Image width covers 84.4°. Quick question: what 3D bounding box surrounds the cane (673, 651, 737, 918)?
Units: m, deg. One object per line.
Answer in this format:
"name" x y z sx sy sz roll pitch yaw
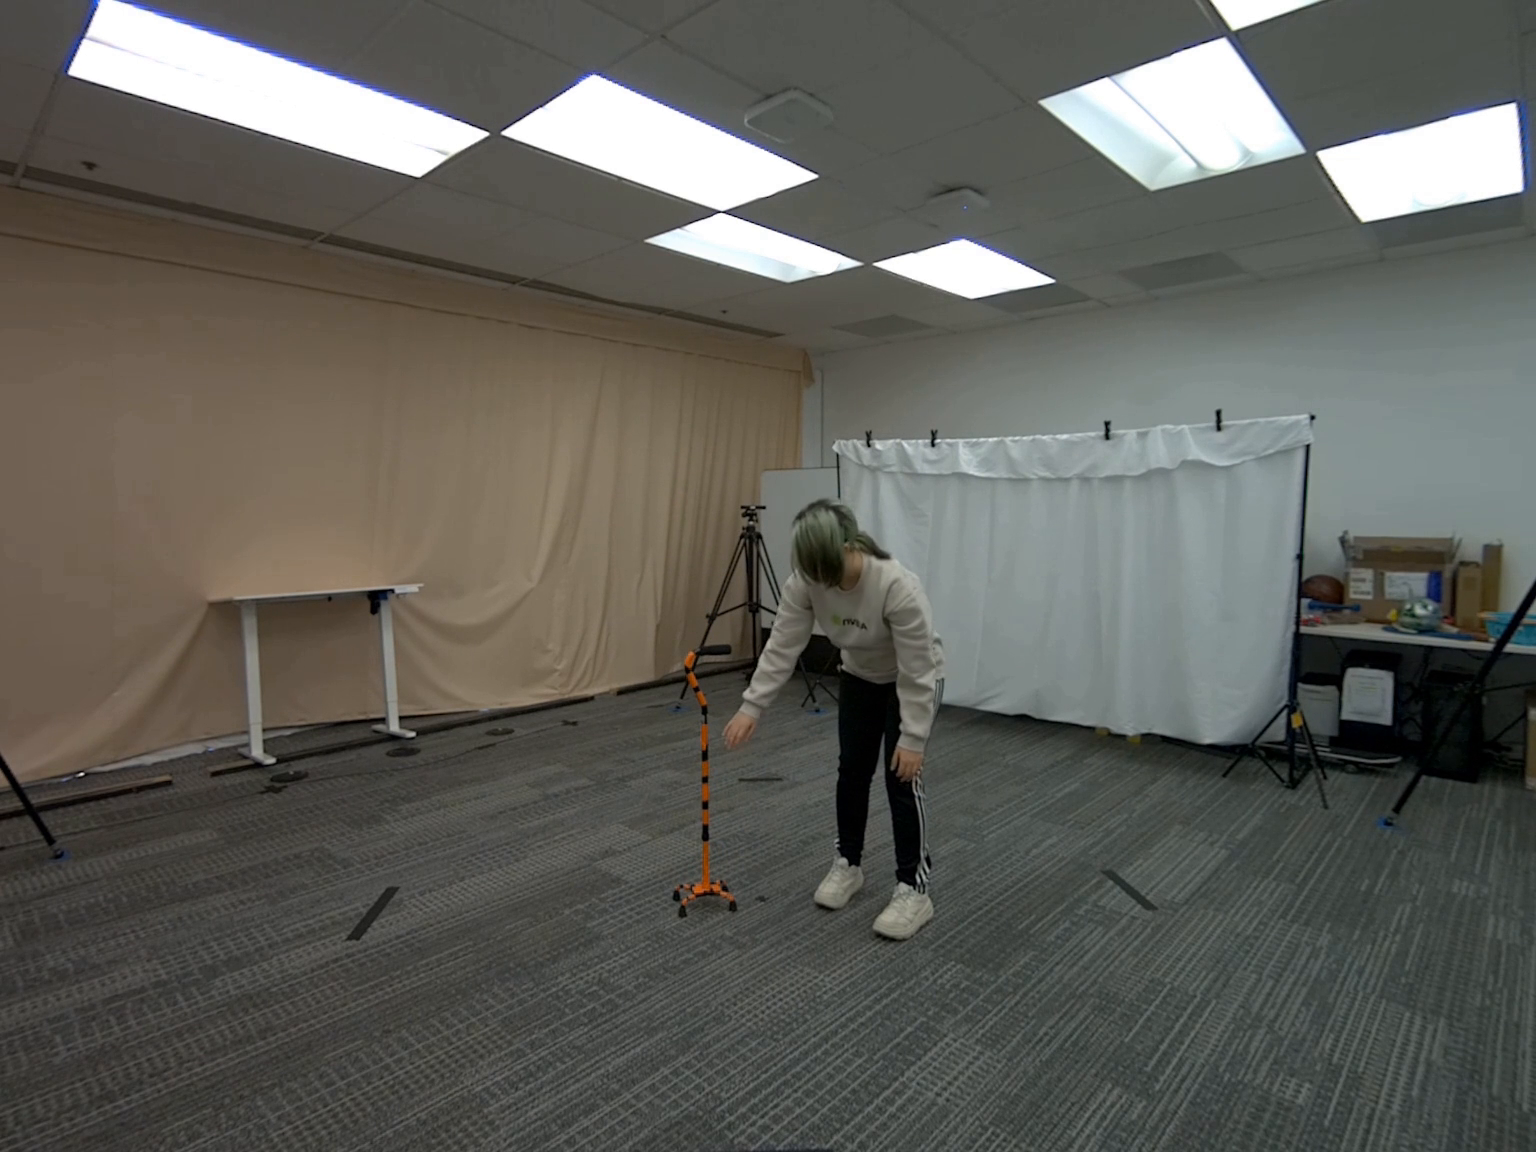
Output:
"cane" -0.229 0.702 2.916 0.204 0.906 0.154 -2 3 -13
